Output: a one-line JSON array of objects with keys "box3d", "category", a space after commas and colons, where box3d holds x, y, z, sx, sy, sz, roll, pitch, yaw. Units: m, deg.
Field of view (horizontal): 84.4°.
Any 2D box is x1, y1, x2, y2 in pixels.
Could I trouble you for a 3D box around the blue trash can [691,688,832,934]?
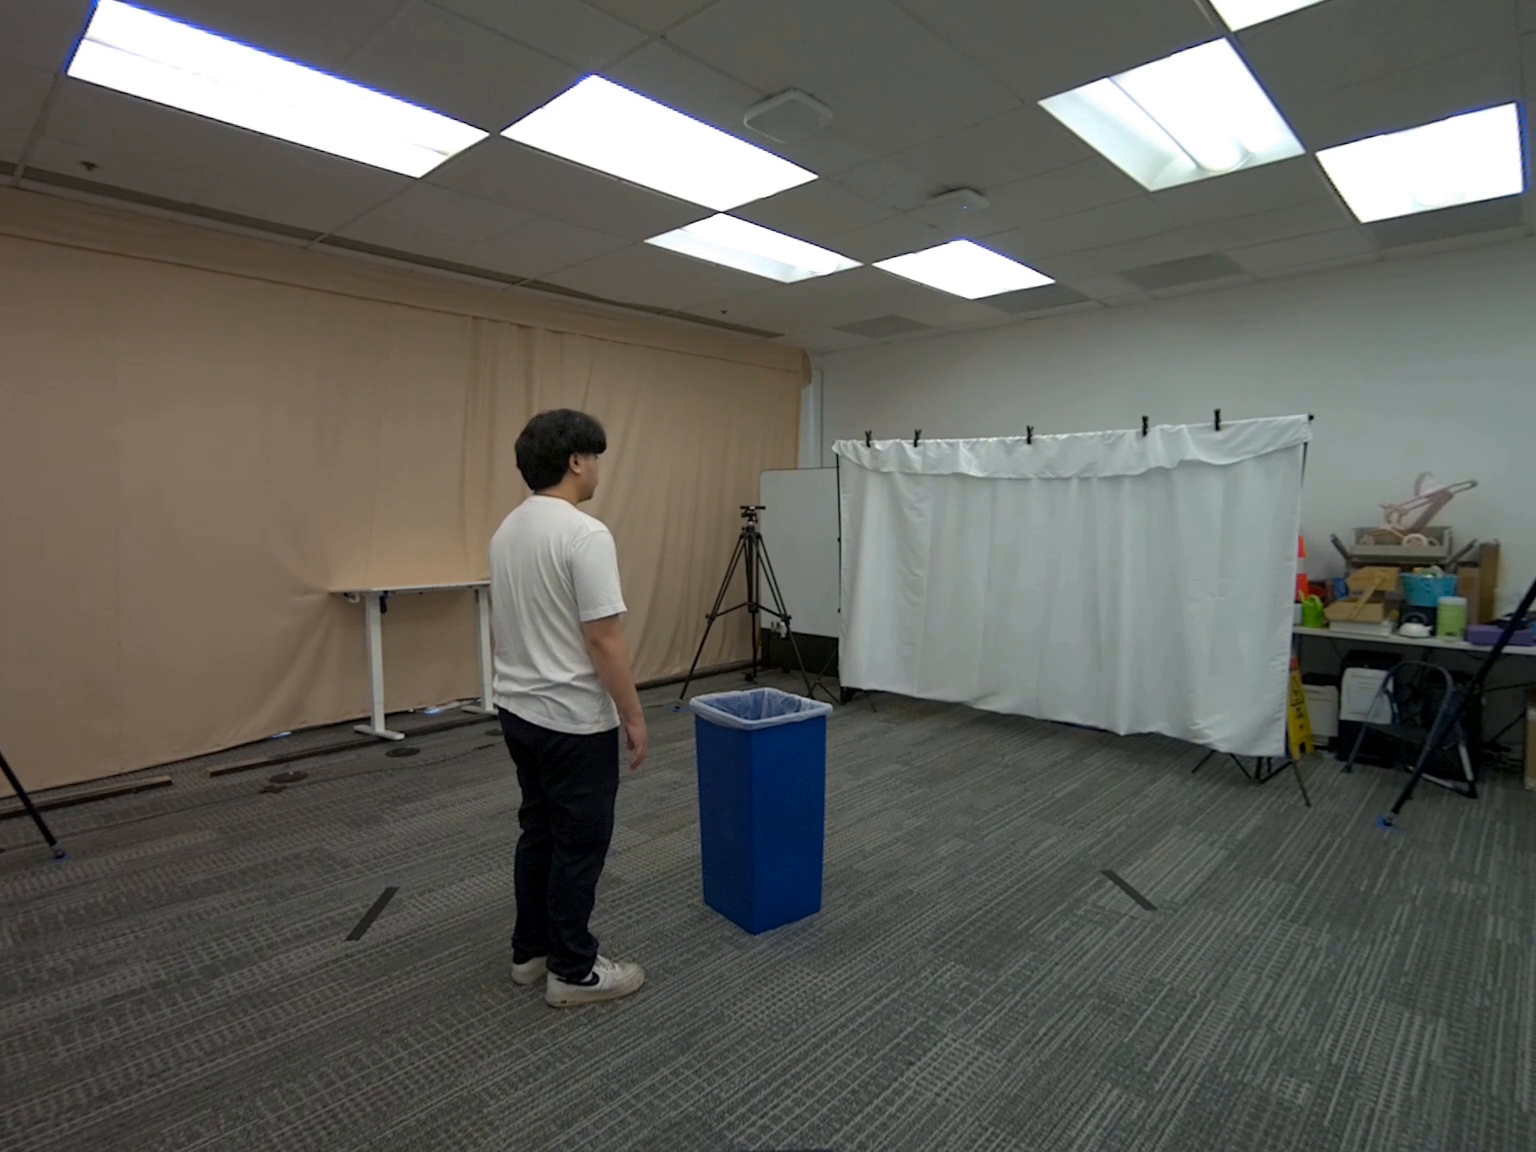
[{"box3d": [-0.026, 0.792, 2.907, 0.363, 0.712, 0.390, -2, 4, -37], "category": "blue trash can"}]
